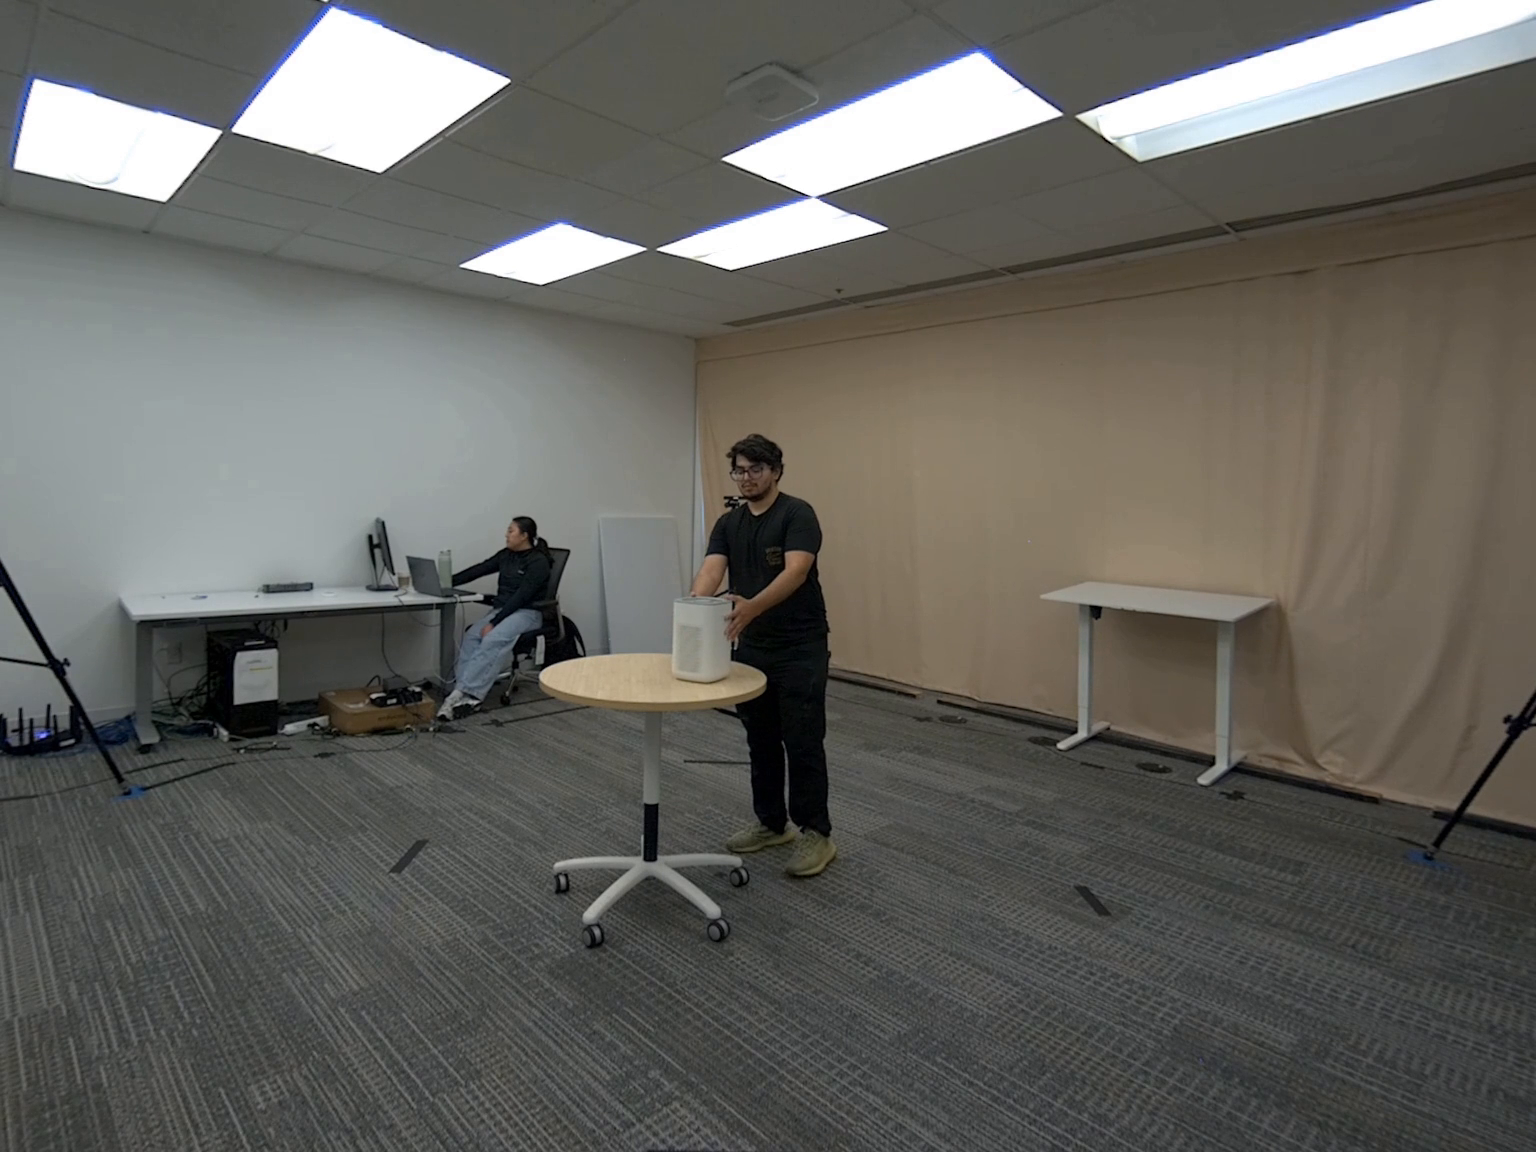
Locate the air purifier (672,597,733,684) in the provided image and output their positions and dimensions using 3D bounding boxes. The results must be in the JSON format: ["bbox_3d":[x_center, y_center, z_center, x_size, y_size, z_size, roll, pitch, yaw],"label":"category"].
[{"bbox_3d":[-0.224,0.210,2.824,0.175,0.265,0.168,3,2,27],"label":"air purifier"}]
